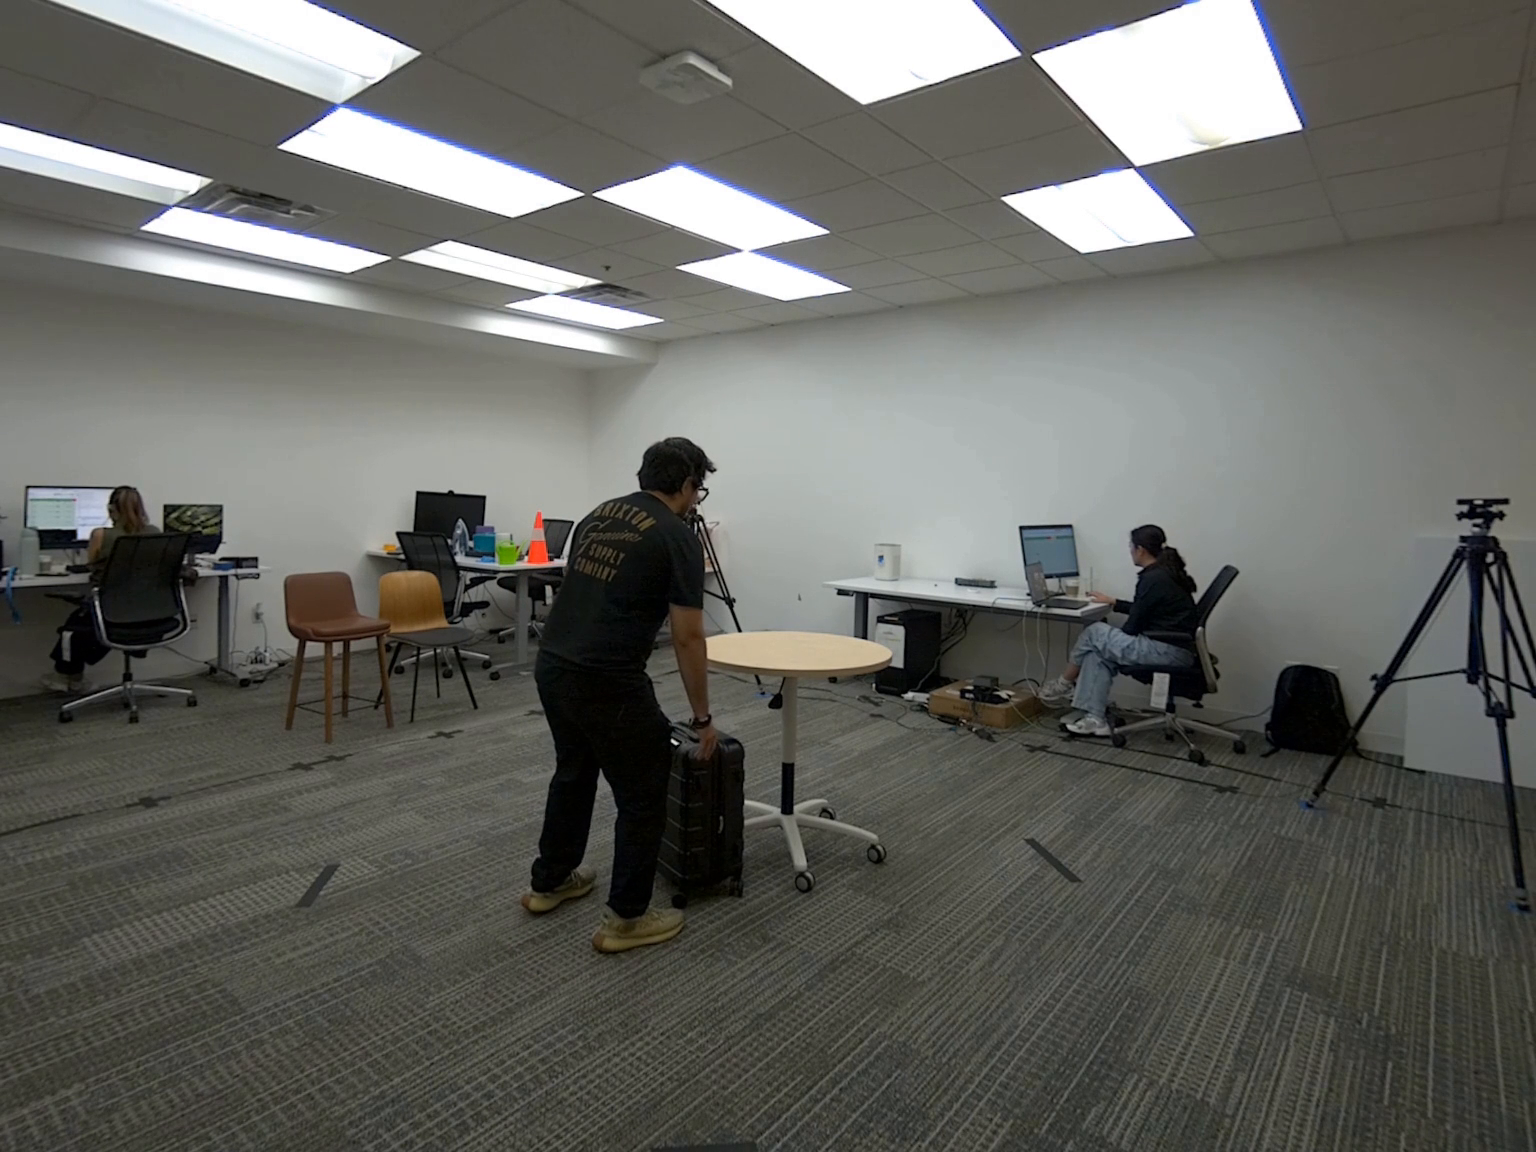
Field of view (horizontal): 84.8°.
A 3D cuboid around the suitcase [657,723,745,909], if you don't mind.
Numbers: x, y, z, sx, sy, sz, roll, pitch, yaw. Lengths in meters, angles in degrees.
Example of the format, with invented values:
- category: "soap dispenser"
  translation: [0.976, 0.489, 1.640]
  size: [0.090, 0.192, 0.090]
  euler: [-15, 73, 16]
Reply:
- category: "suitcase"
  translation: [-0.270, 0.799, 2.993]
  size: [0.241, 0.547, 0.387]
  euler: [-1, 5, -31]
